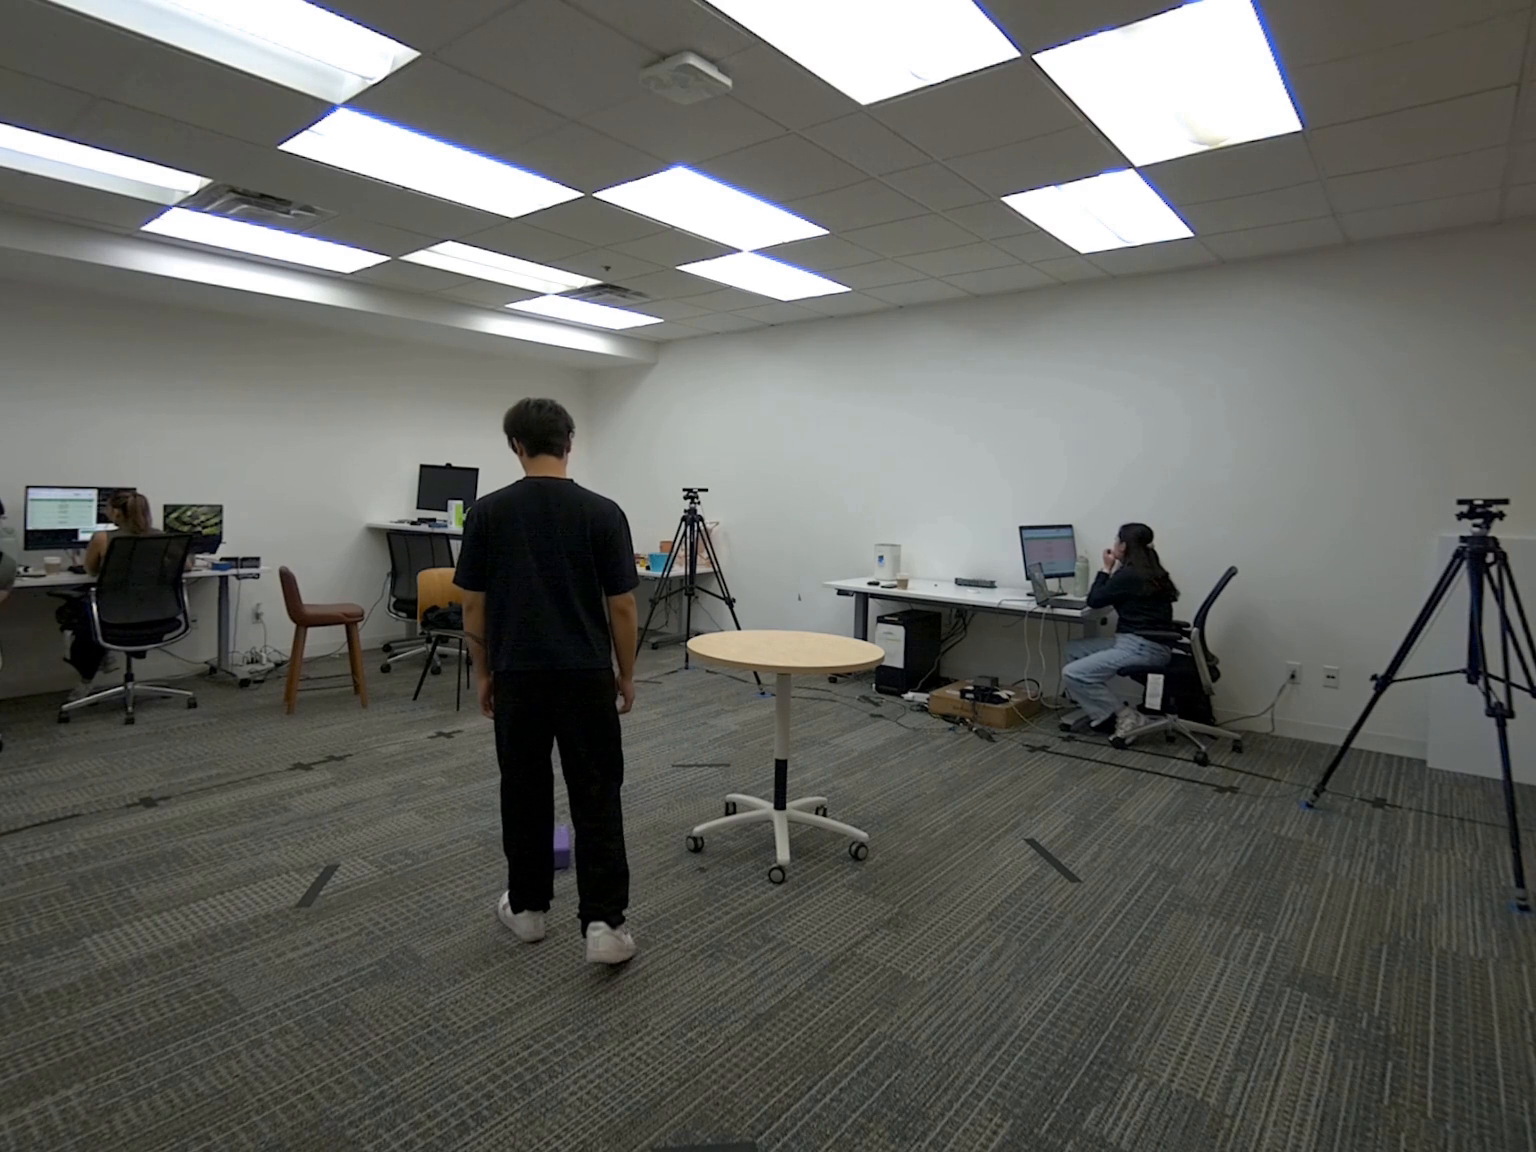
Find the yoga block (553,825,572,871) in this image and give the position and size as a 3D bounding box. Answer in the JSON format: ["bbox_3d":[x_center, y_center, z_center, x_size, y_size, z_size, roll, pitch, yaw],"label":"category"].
[{"bbox_3d":[-0.831,1.013,3.182,0.147,0.076,0.233,1,5,-13],"label":"yoga block"}]
